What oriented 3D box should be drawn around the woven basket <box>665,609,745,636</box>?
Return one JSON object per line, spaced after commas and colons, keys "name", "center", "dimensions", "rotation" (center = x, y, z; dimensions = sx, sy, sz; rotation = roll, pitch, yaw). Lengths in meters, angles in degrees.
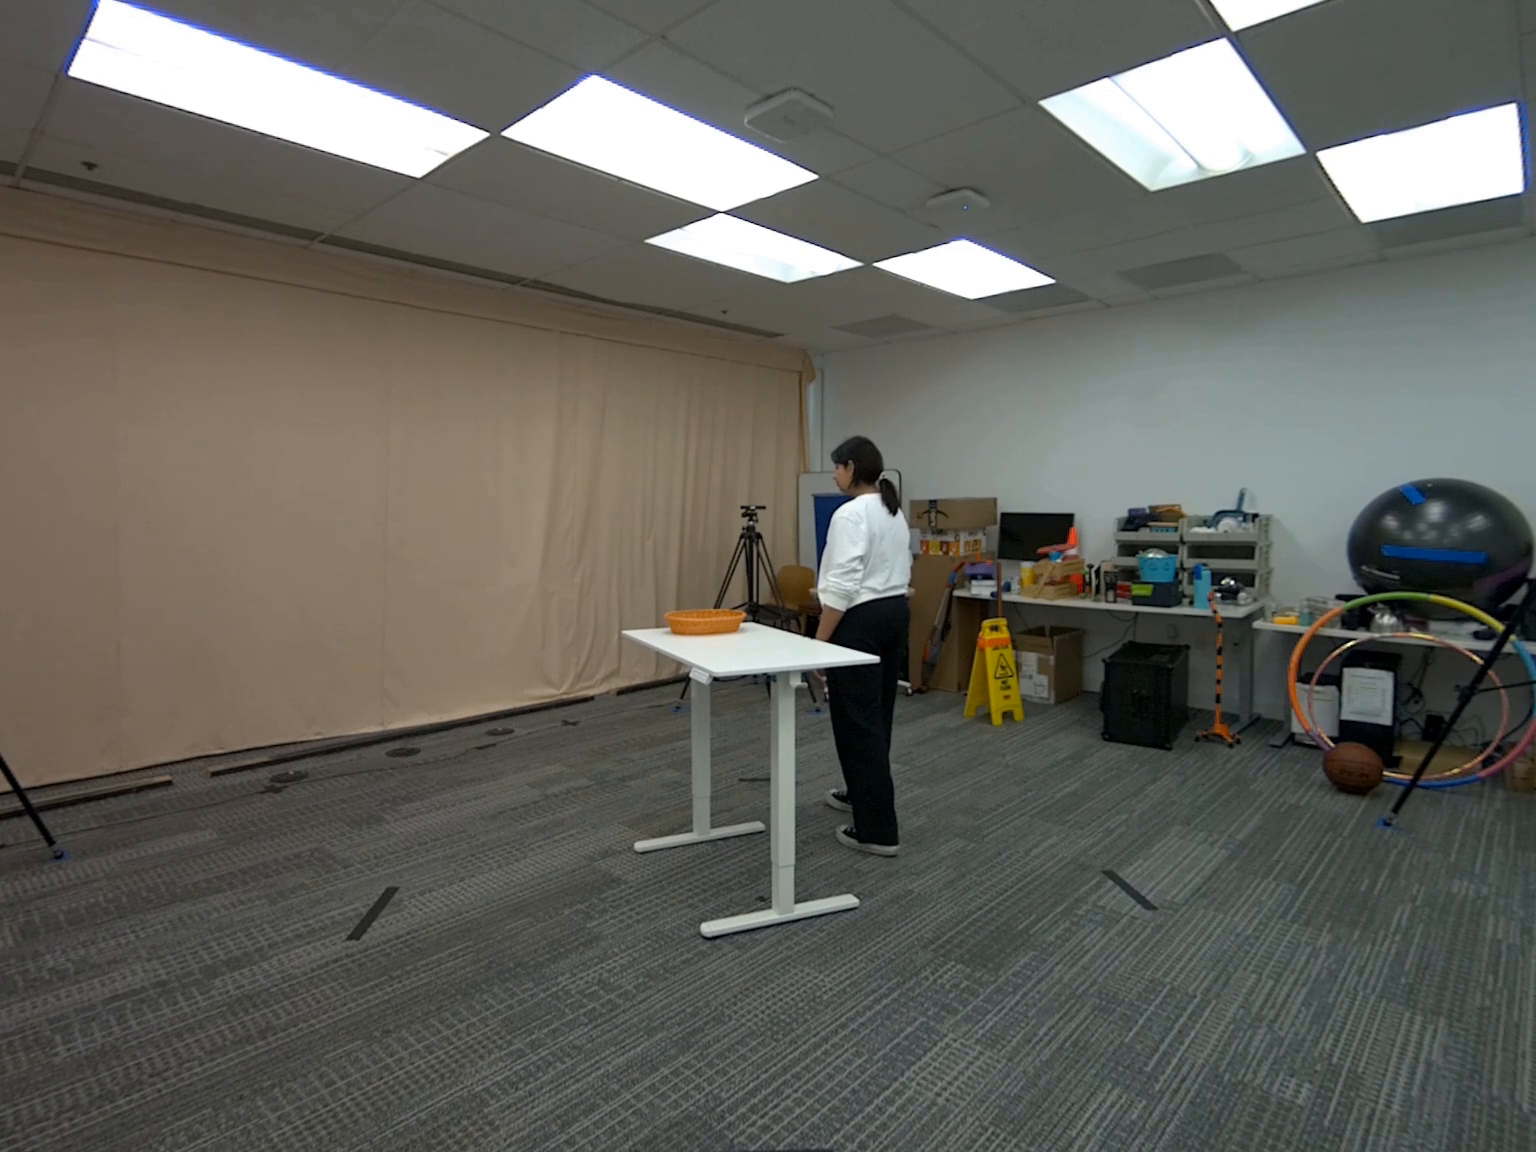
{"name": "woven basket", "center": [-0.259, 0.196, 3.453], "dimensions": [0.344, 0.073, 0.257], "rotation": [-1, 7, -17]}
